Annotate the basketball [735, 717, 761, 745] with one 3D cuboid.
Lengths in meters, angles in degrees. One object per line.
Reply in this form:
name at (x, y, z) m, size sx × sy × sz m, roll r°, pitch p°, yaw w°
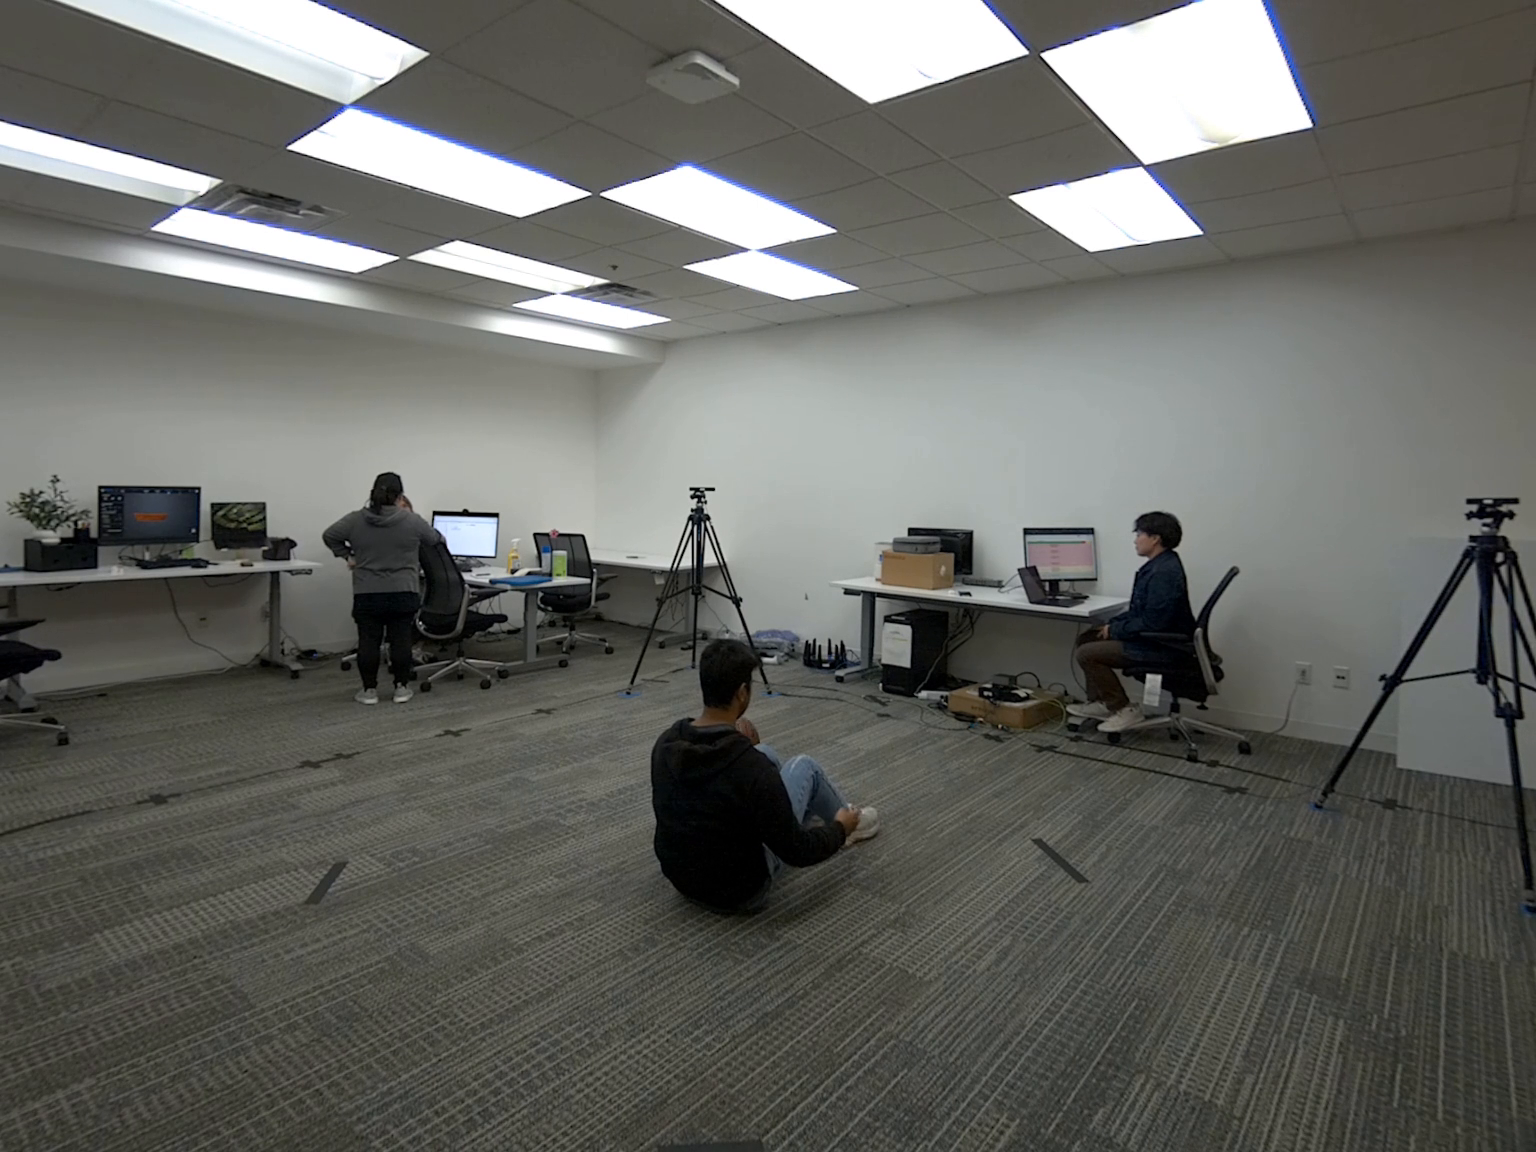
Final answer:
basketball at (-0.139, 0.663, 3.381) m, size 0.235 × 0.235 × 0.237 m, roll 1°, pitch 4°, yaw -2°
